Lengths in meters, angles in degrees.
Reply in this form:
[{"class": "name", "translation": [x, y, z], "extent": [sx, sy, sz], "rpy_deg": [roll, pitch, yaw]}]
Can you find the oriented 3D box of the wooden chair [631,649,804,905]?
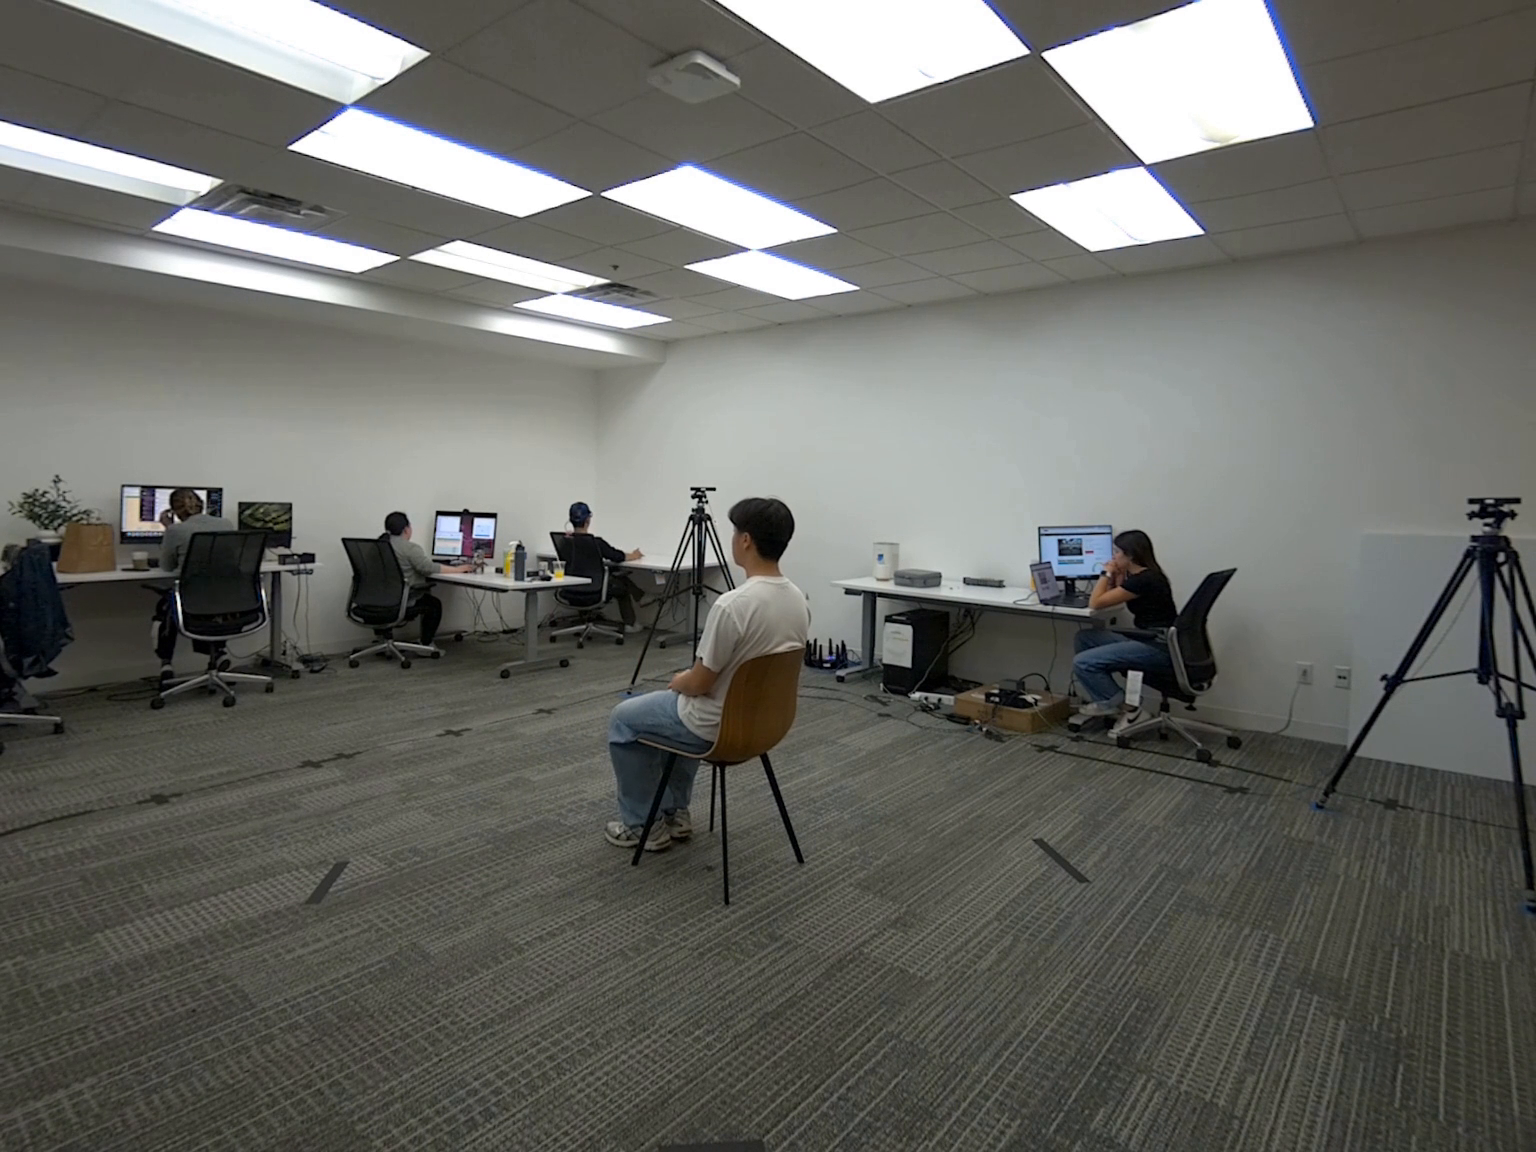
[{"class": "wooden chair", "translation": [-0.180, 0.639, 3.120], "extent": [0.542, 0.873, 0.463], "rpy_deg": [10, 7, 38]}]
